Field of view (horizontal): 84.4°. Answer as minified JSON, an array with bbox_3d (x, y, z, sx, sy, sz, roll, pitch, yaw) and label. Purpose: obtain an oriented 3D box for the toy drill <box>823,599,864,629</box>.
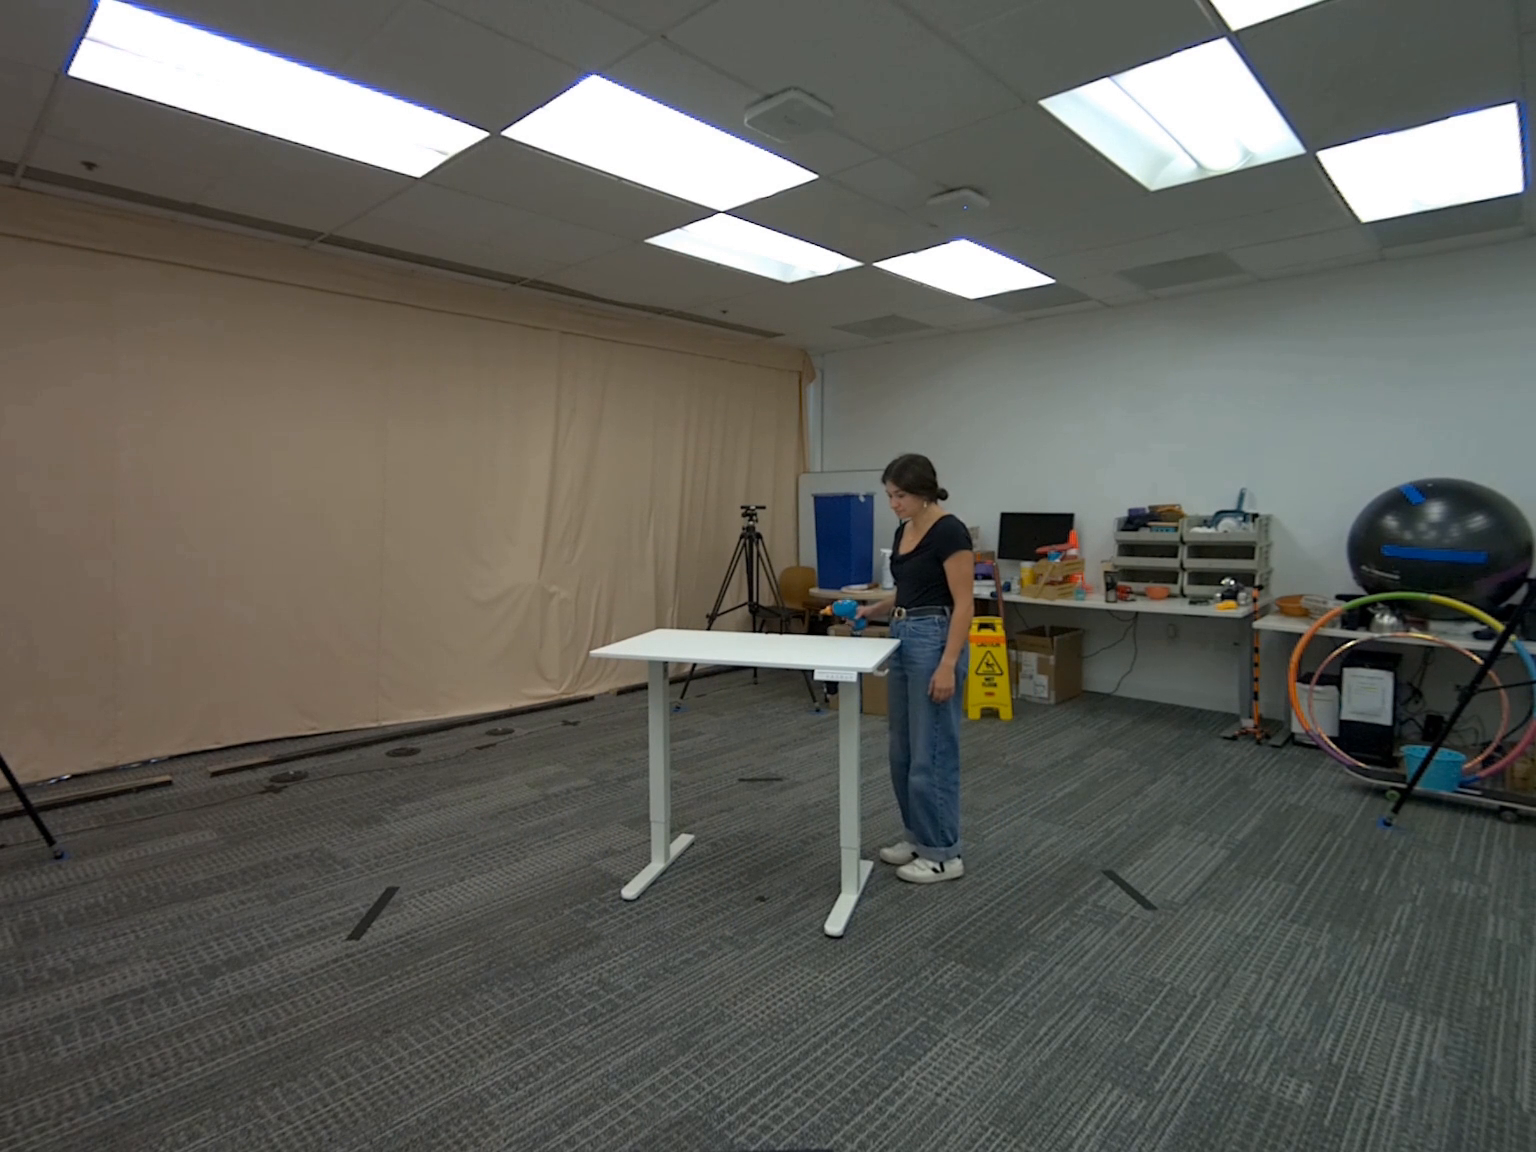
[{"bbox_3d":[0.309,0.166,3.331,0.173,0.143,0.061,-19,22,27],"label":"toy drill"}]
